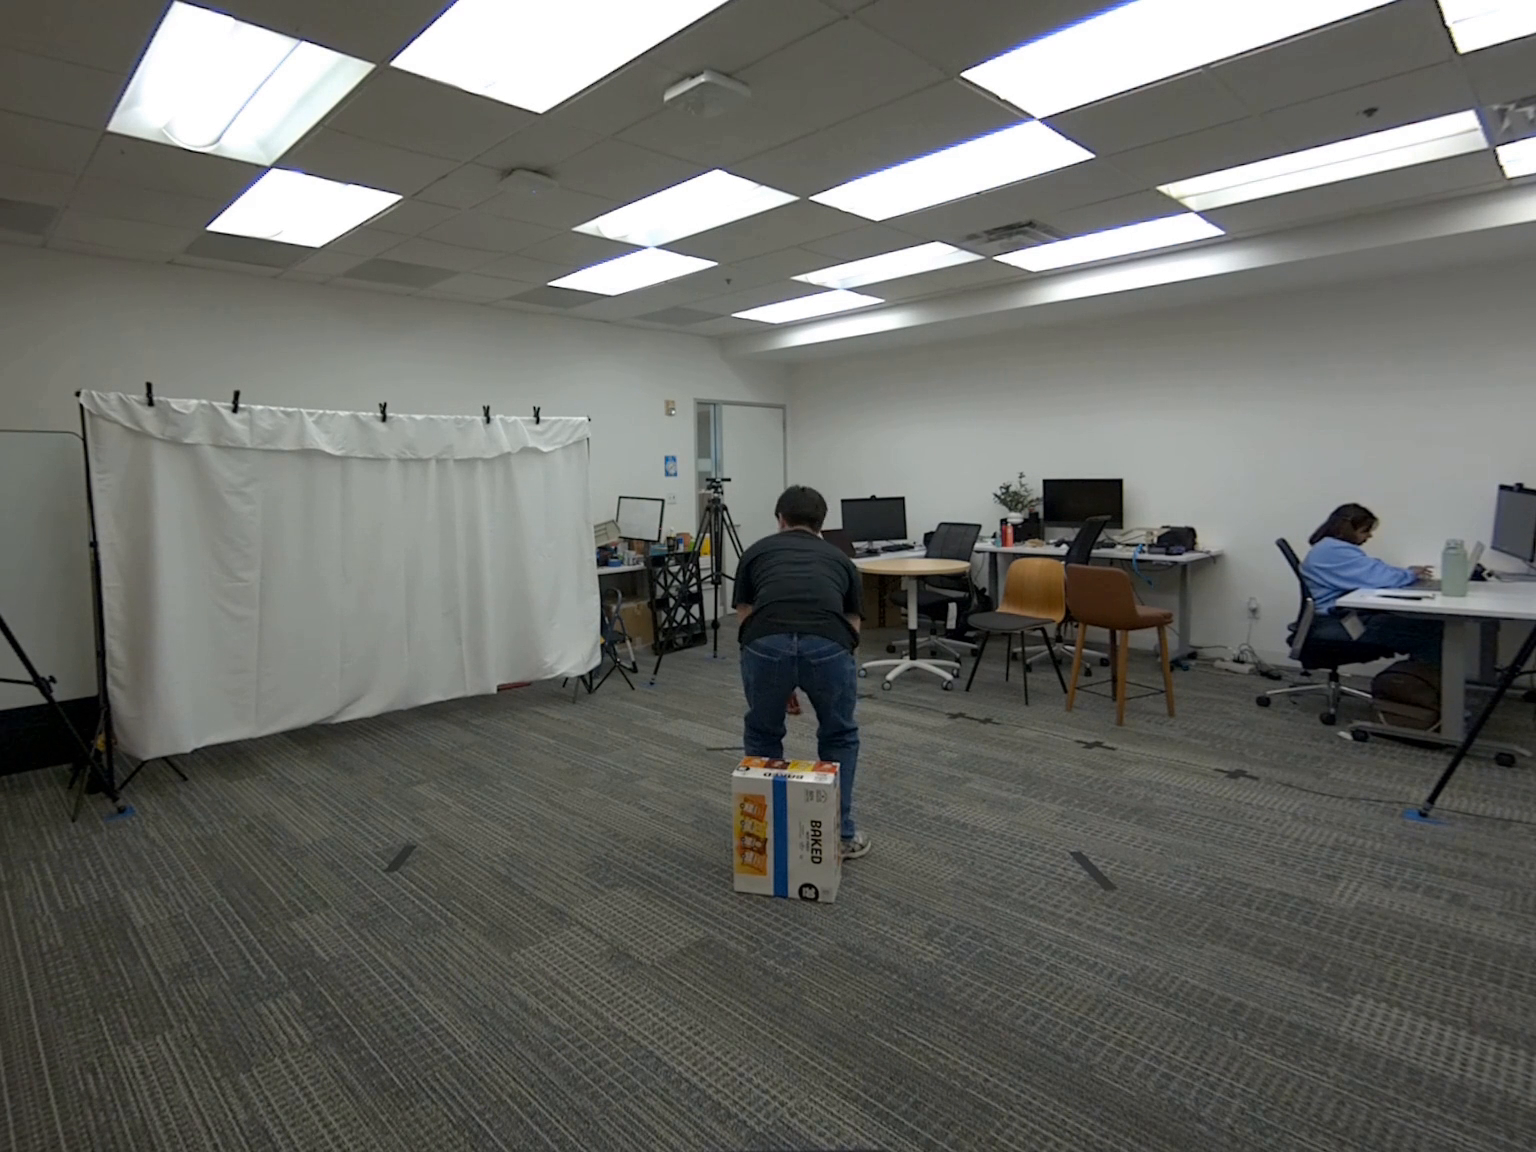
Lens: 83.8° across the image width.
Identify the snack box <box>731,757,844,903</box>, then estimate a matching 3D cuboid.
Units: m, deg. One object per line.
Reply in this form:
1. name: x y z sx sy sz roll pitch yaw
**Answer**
1. snack box: 0.071 0.861 2.924 0.345 0.404 0.203 0 4 15
